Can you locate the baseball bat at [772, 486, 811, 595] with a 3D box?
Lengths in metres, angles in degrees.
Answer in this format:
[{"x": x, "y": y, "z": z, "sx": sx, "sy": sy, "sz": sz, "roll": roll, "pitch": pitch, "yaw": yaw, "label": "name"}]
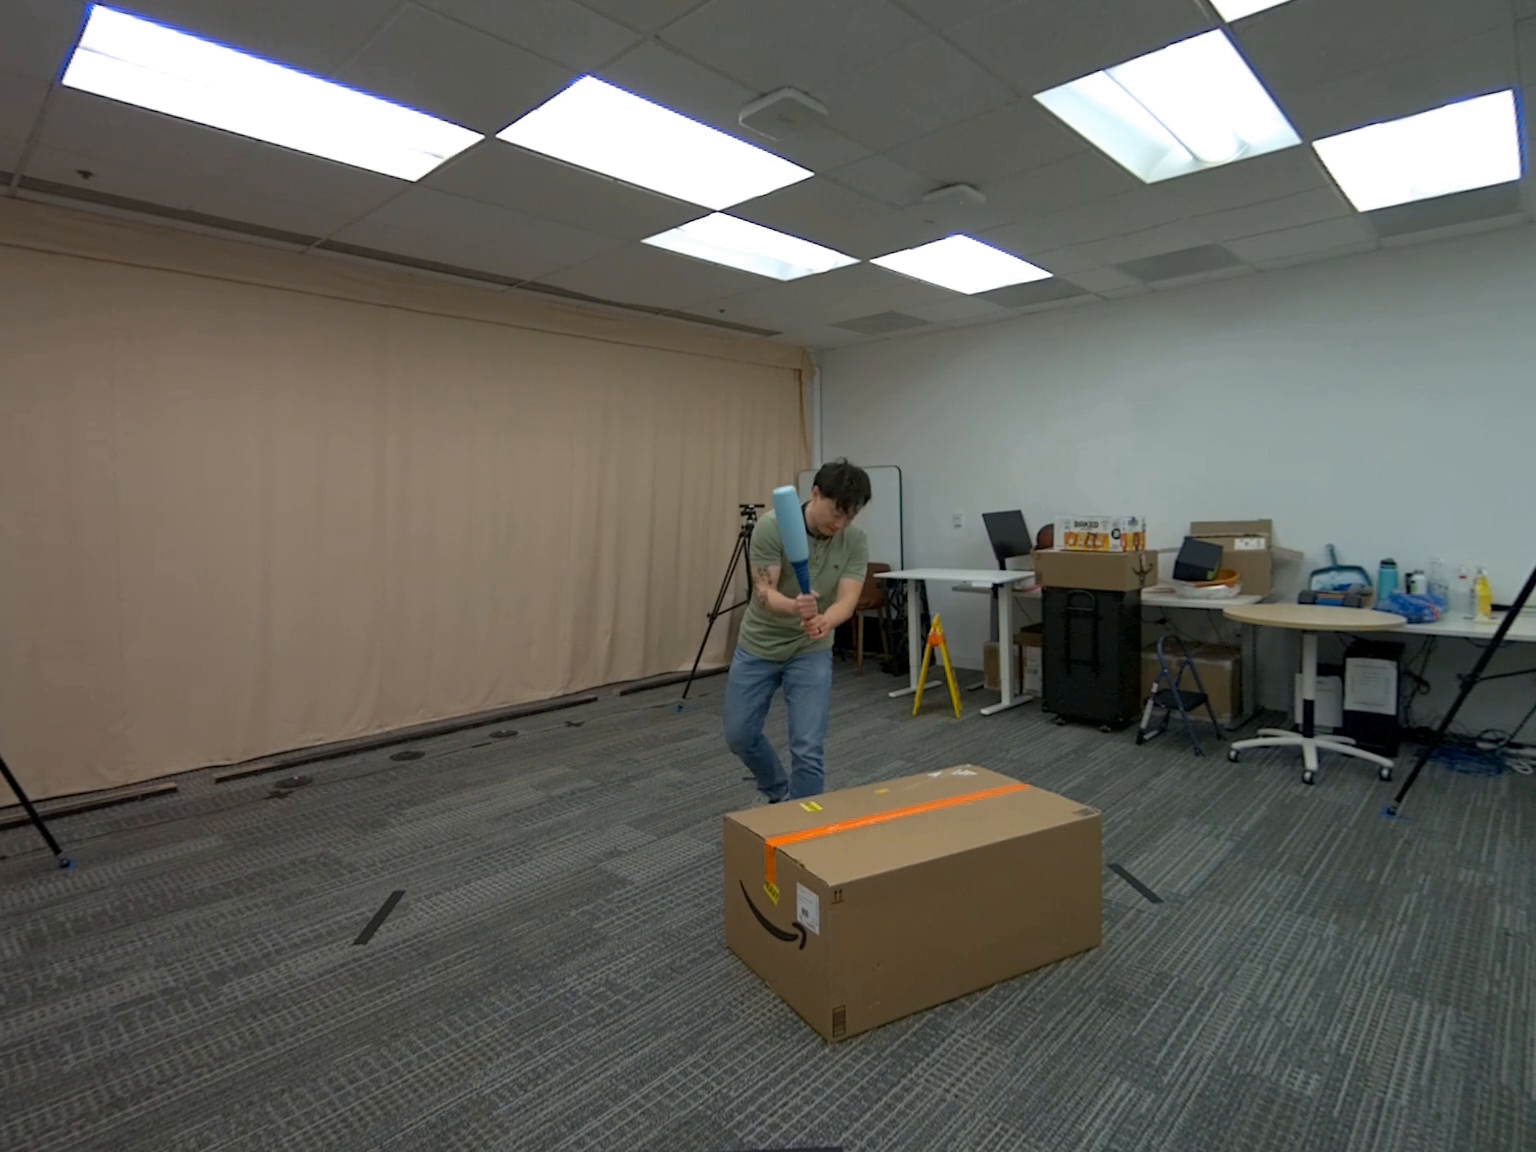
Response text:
[{"x": 0.104, "y": -0.016, "z": 2.881, "sx": 0.089, "sy": 0.536, "sz": 0.090, "roll": -11, "pitch": 15, "yaw": 1, "label": "baseball bat"}]
